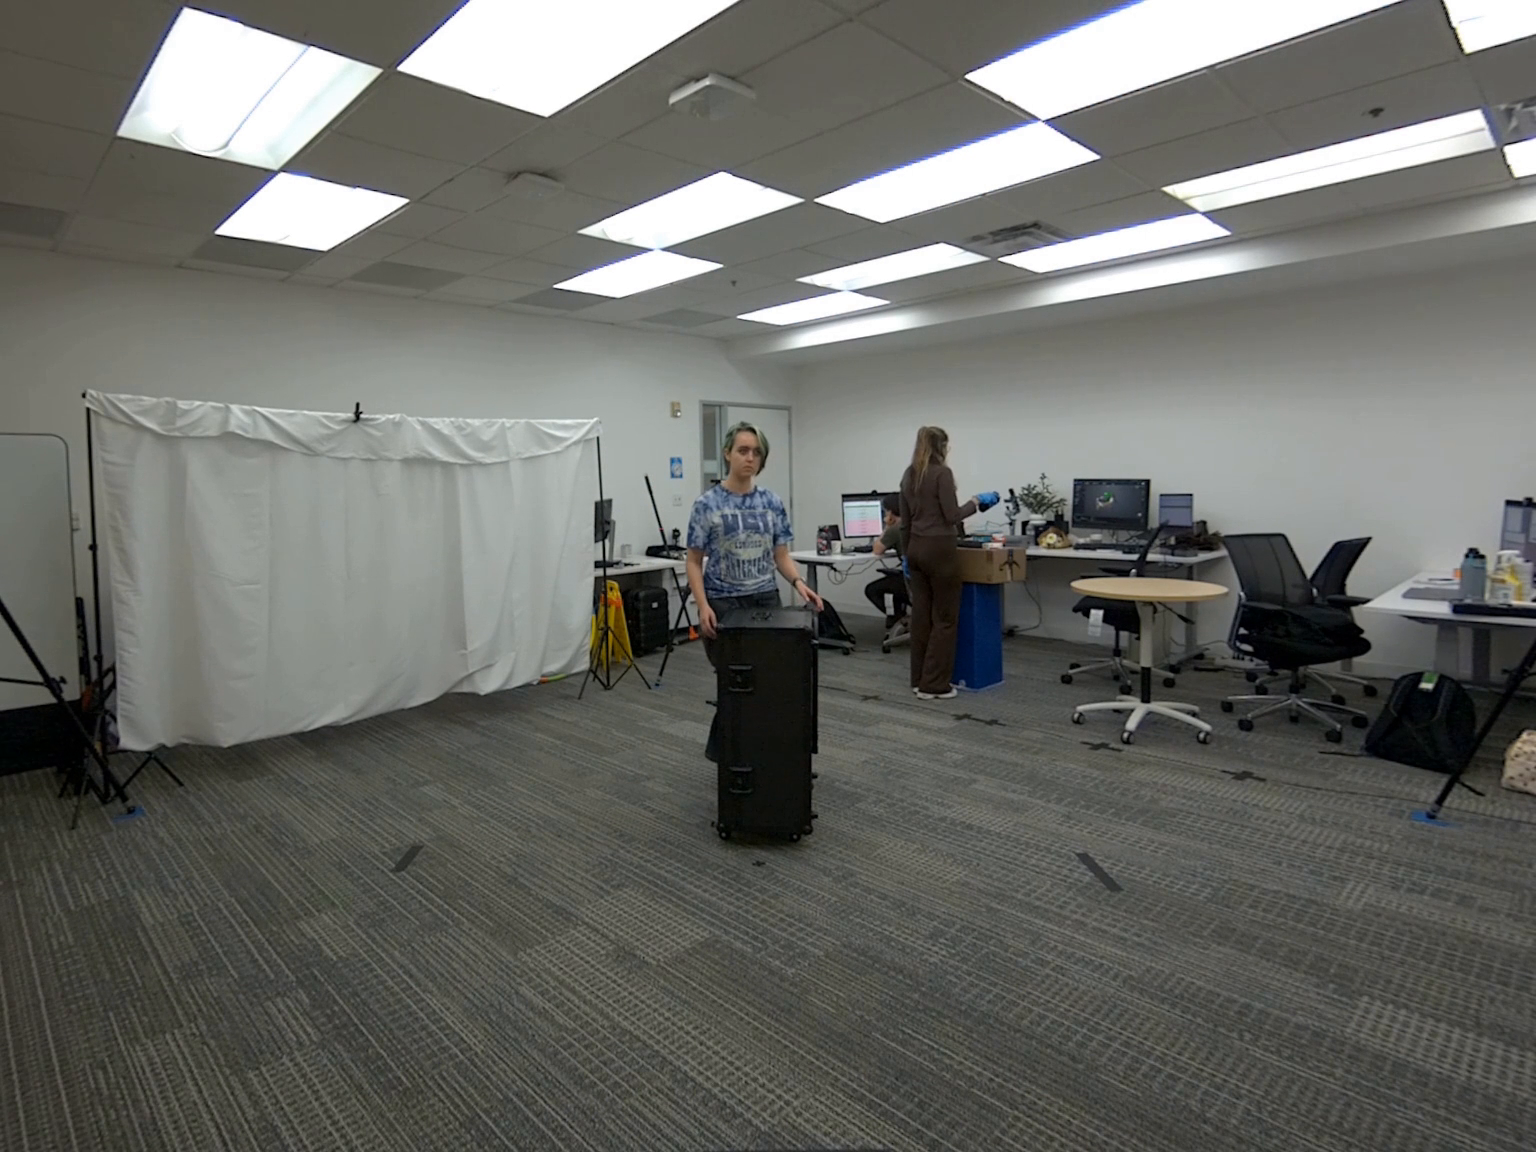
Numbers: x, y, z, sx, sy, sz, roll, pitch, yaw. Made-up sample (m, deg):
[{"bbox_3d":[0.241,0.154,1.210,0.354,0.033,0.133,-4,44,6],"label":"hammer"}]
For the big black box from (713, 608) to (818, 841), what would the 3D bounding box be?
[{"bbox_3d":[0.006,0.593,3.427,0.399,0.858,0.520,1,5,5],"label":"big black box"}]
